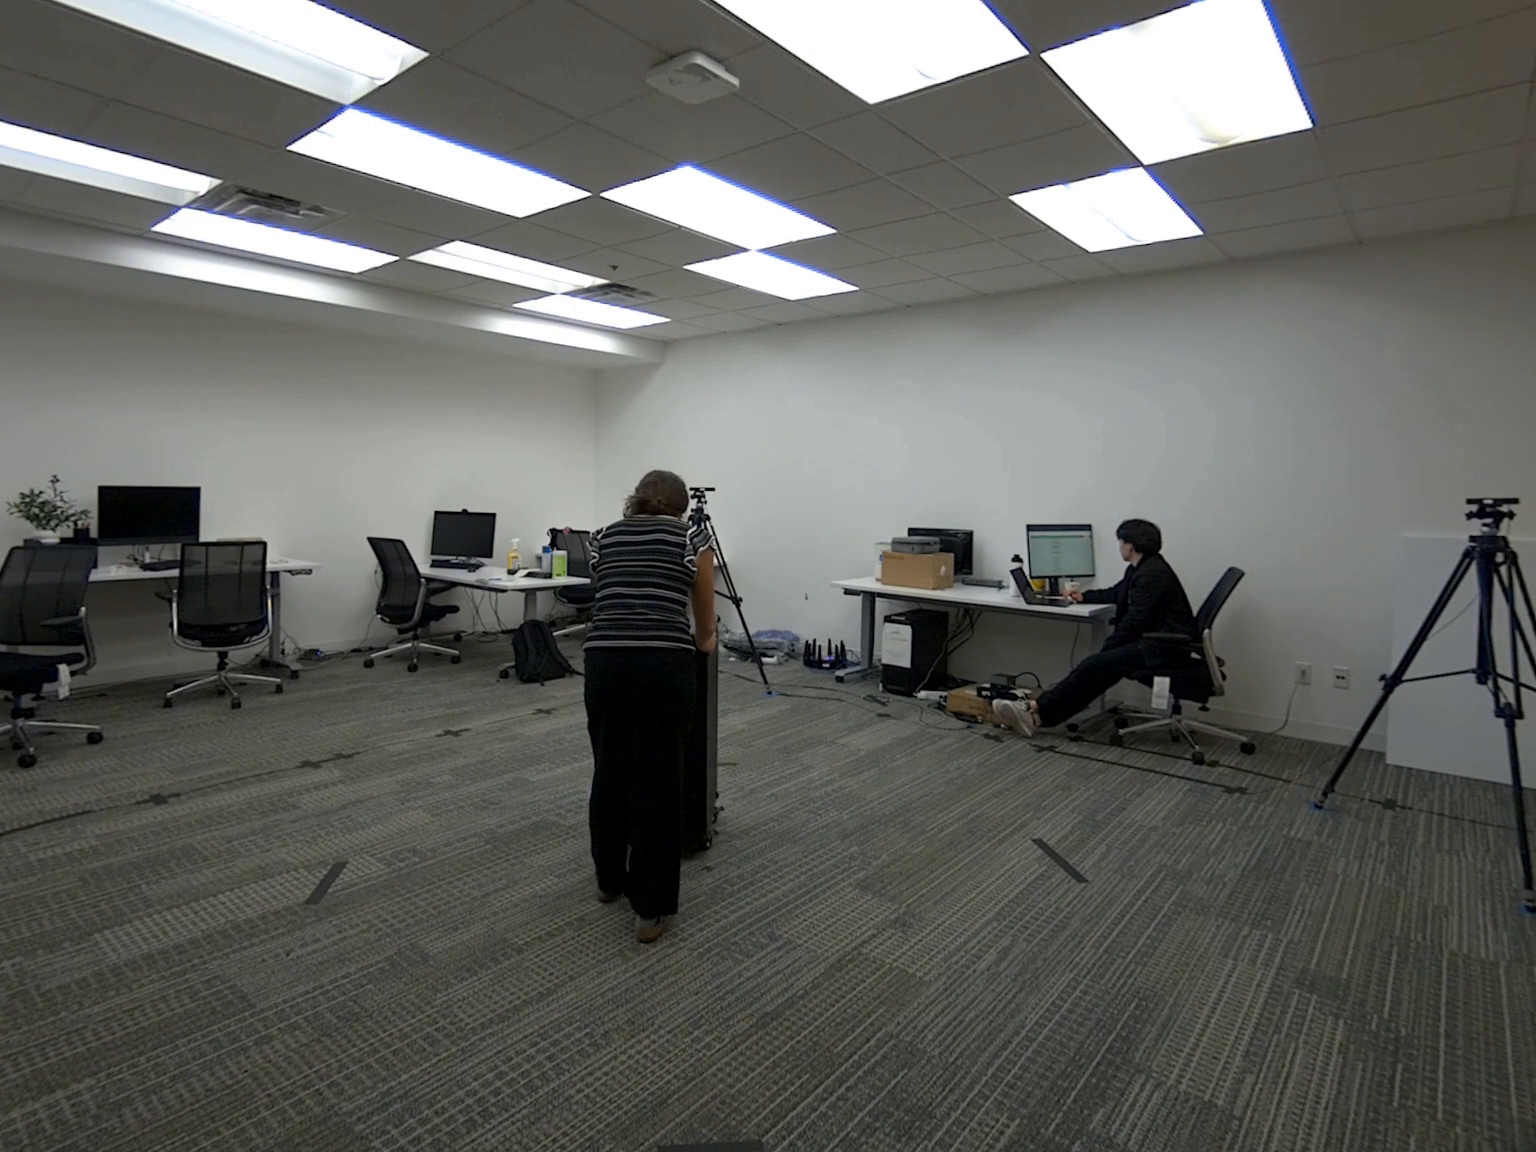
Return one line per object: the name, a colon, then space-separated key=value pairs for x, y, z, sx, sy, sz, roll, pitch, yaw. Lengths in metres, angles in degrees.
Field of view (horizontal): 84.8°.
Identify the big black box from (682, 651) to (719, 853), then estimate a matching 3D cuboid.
big black box: x=-0.414 y=0.621 z=3.386 sx=0.398 sy=0.858 sz=0.521 roll=0 pitch=4 yaw=3
